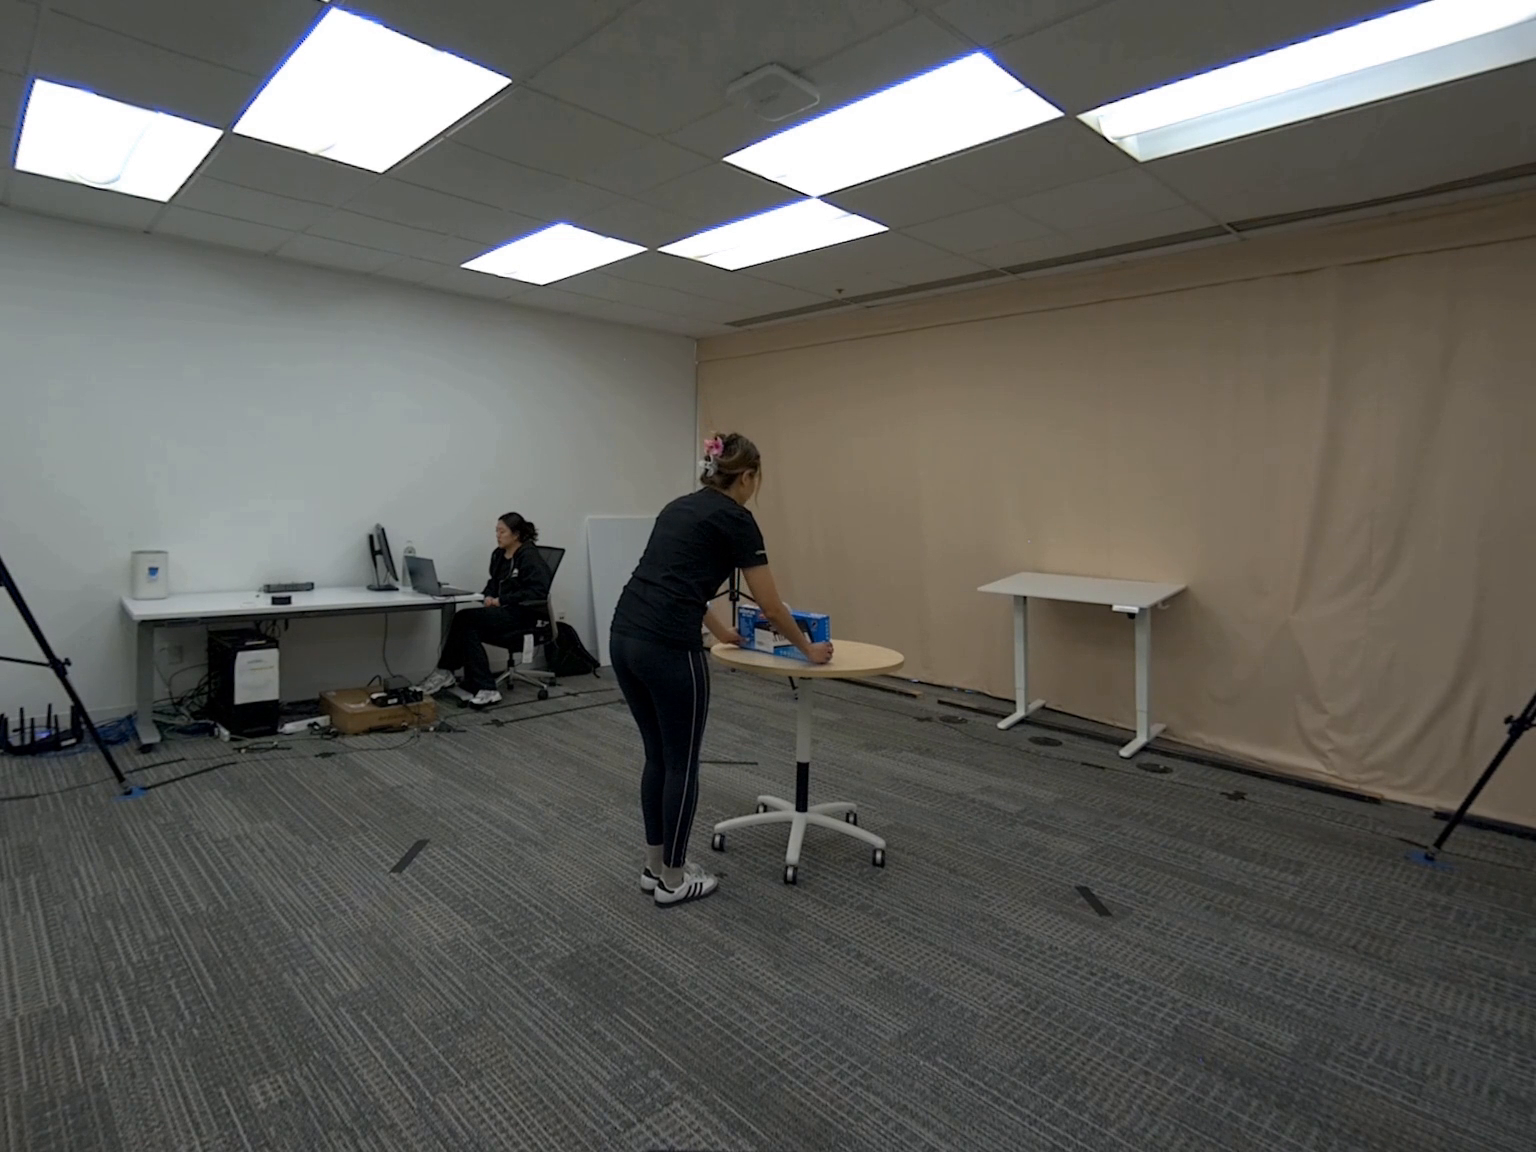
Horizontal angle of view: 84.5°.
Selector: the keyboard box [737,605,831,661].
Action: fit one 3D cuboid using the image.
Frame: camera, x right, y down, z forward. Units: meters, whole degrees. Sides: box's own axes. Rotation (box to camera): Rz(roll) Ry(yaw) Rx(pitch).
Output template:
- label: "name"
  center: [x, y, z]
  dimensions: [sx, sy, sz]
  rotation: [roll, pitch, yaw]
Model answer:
- label: "keyboard box"
  center: [0.051, 0.222, 3.270]
  dimensions: [0.058, 0.175, 0.448]
  rotation: [-8, 10, -44]
